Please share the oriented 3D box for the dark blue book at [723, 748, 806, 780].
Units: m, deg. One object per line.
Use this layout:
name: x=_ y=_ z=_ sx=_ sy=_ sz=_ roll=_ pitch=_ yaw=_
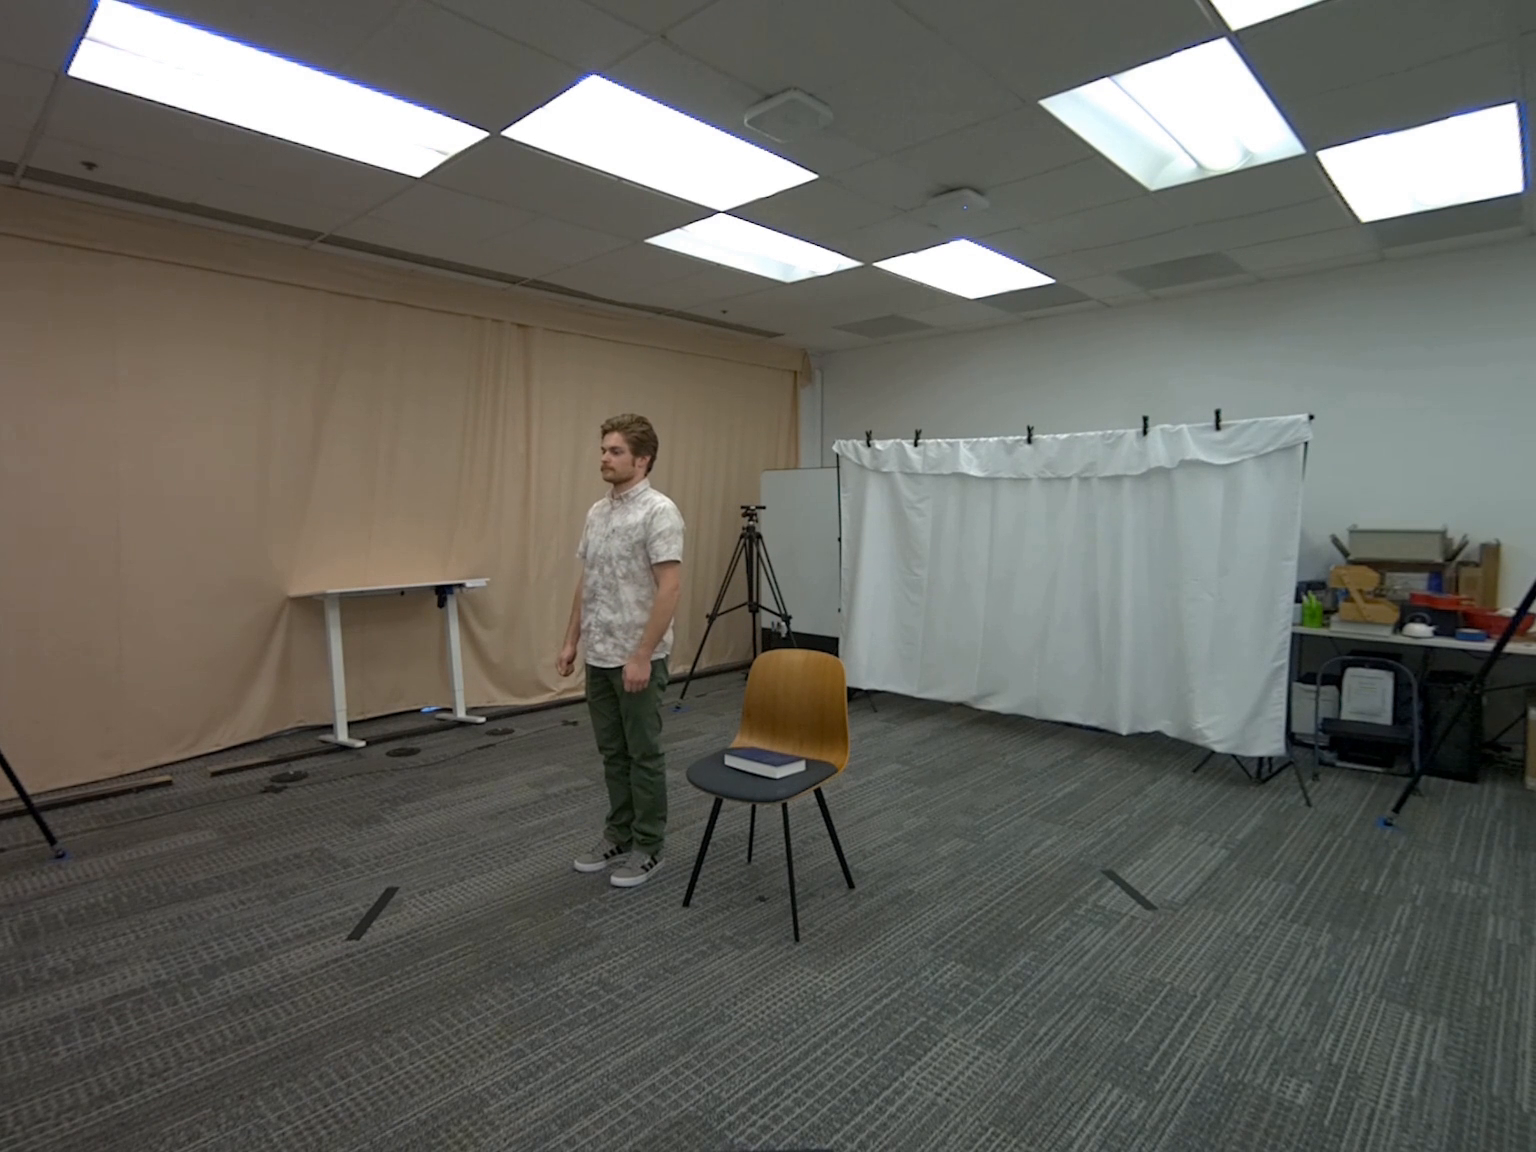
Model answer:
dark blue book: x=-0.007 y=0.640 z=2.926 sx=0.253 sy=0.045 sz=0.158 roll=4 pitch=3 yaw=41
